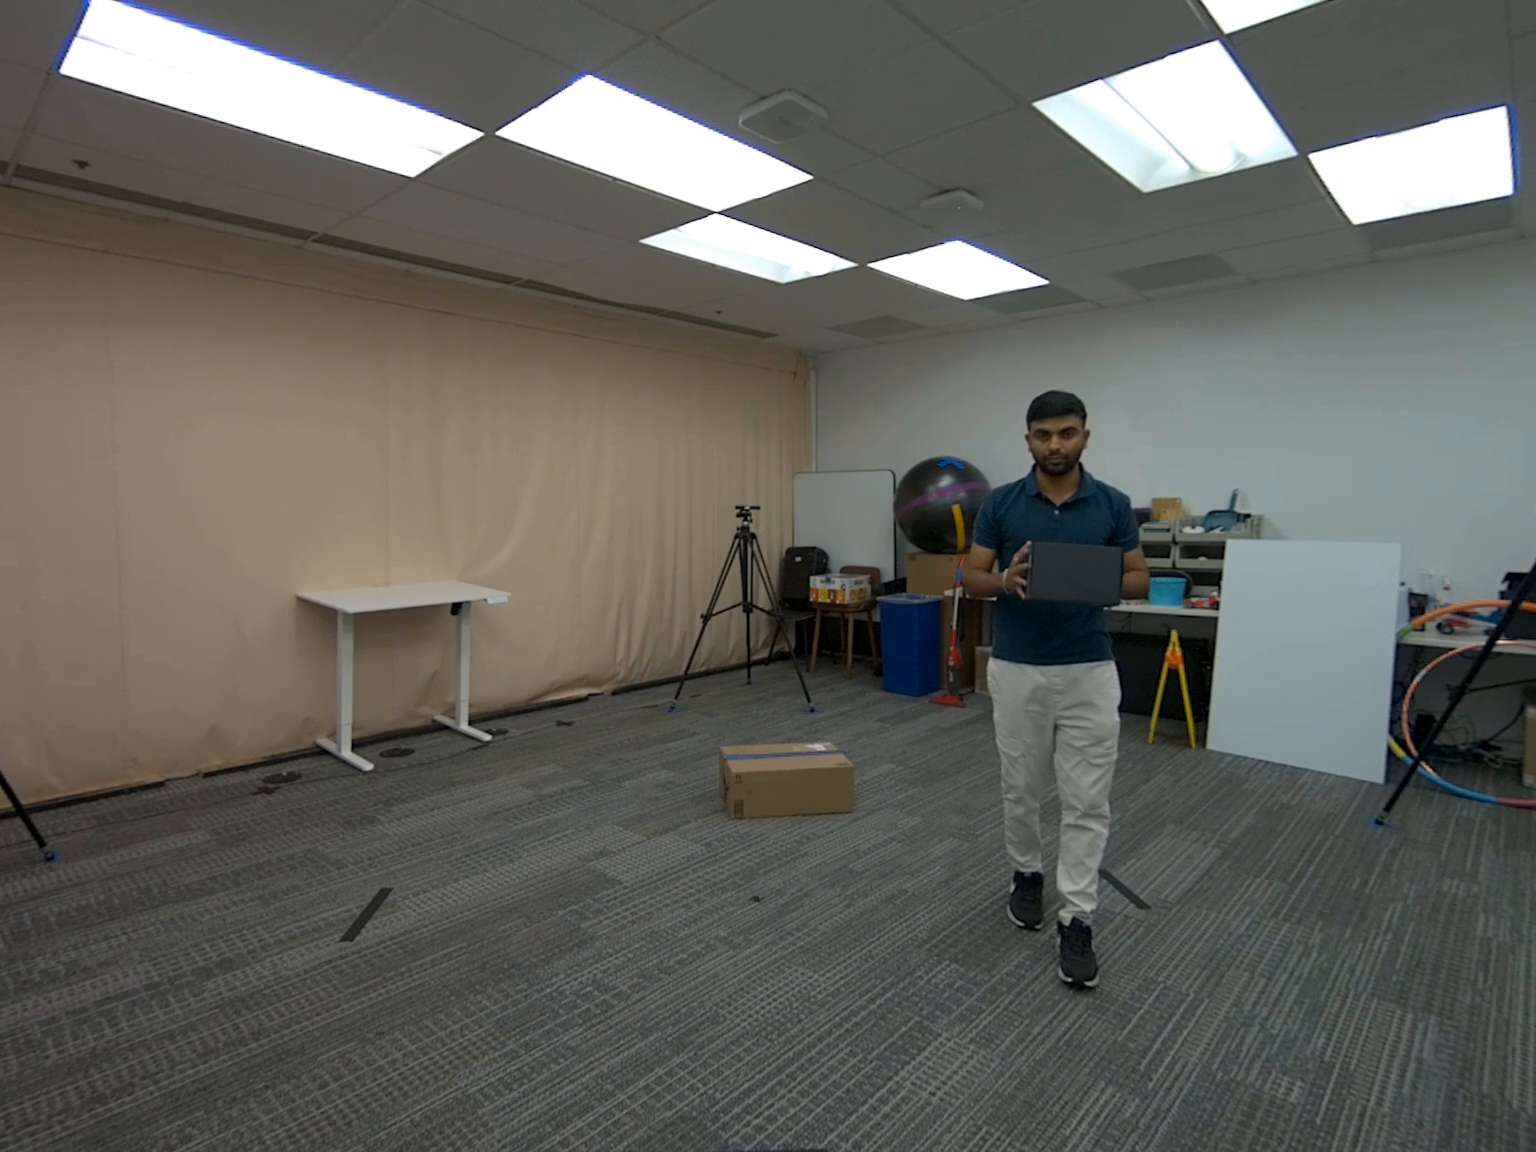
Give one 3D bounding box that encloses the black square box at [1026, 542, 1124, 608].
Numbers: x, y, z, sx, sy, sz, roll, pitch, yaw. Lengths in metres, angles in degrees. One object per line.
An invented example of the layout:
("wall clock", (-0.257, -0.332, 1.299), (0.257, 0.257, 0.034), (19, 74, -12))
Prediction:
("black square box", (0.852, -0.008, 2.350), (0.232, 0.156, 0.213), (3, -1, 15))
